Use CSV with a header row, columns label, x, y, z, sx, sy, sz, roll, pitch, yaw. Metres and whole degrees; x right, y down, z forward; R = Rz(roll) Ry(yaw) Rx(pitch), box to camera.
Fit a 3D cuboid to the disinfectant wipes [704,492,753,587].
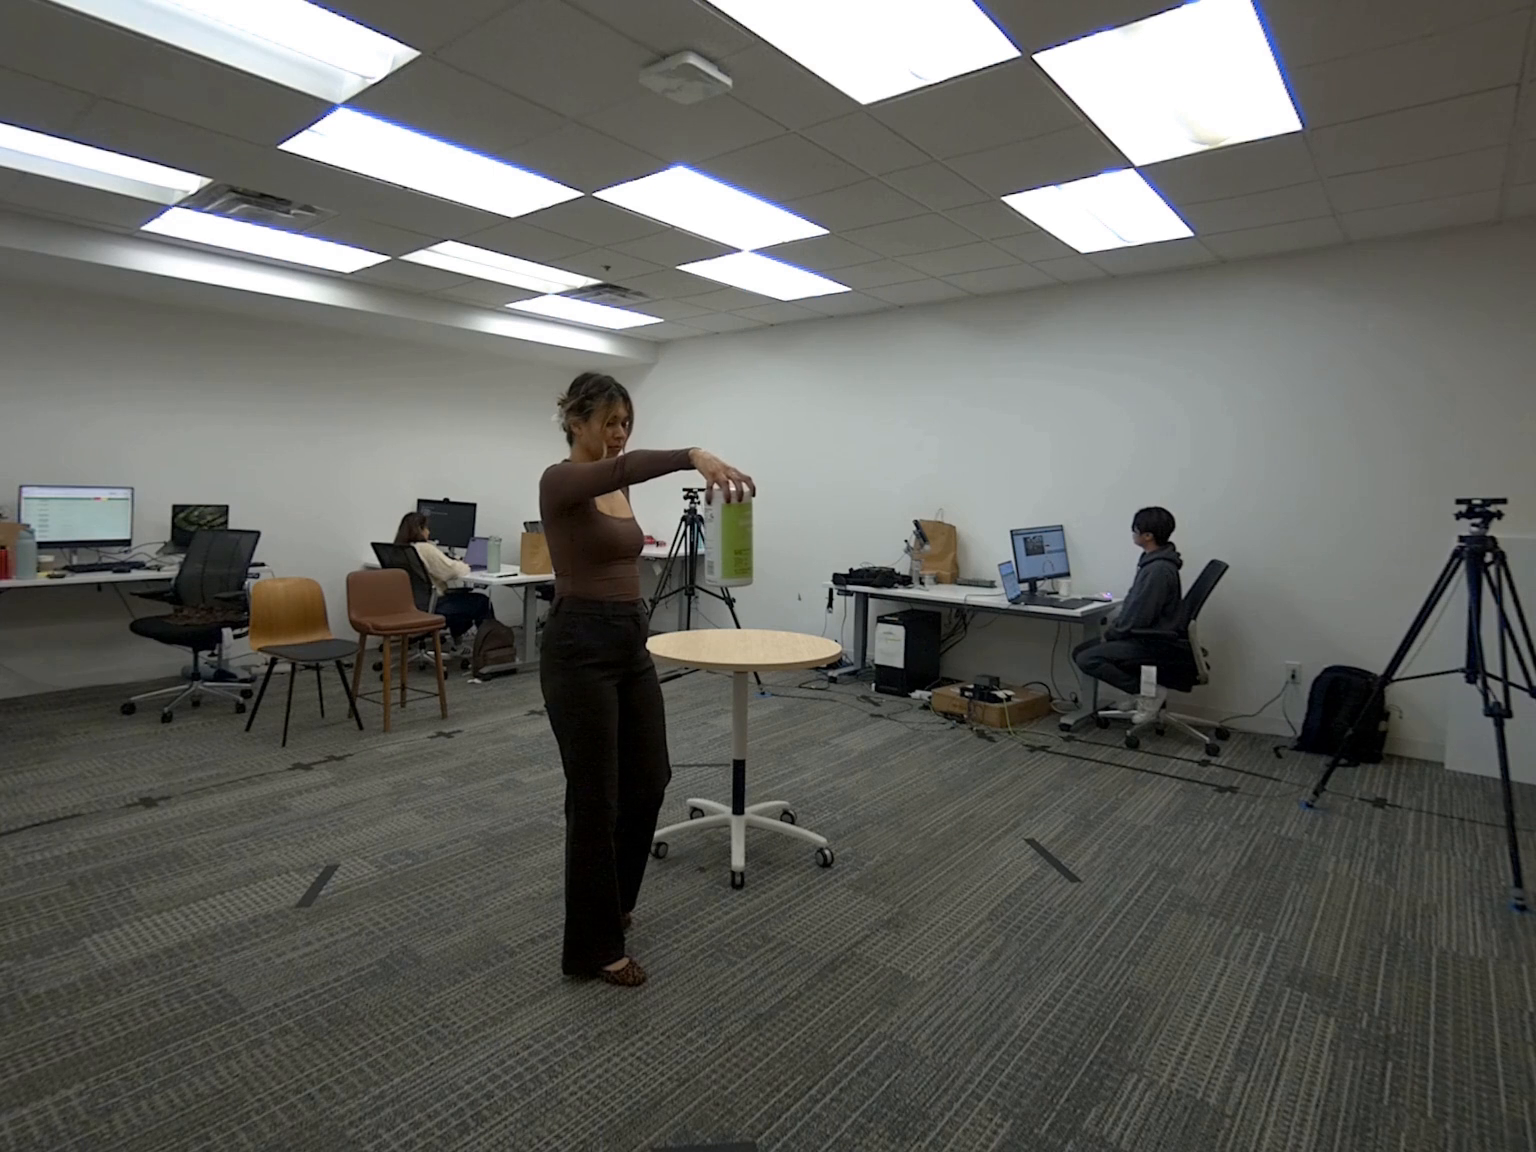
label,x,y,z,sx,sy,sz,roll,pitch,yaw
disinfectant wipes,-0.094,-0.087,1.914,0.118,0.216,0.118,-2,6,-2
